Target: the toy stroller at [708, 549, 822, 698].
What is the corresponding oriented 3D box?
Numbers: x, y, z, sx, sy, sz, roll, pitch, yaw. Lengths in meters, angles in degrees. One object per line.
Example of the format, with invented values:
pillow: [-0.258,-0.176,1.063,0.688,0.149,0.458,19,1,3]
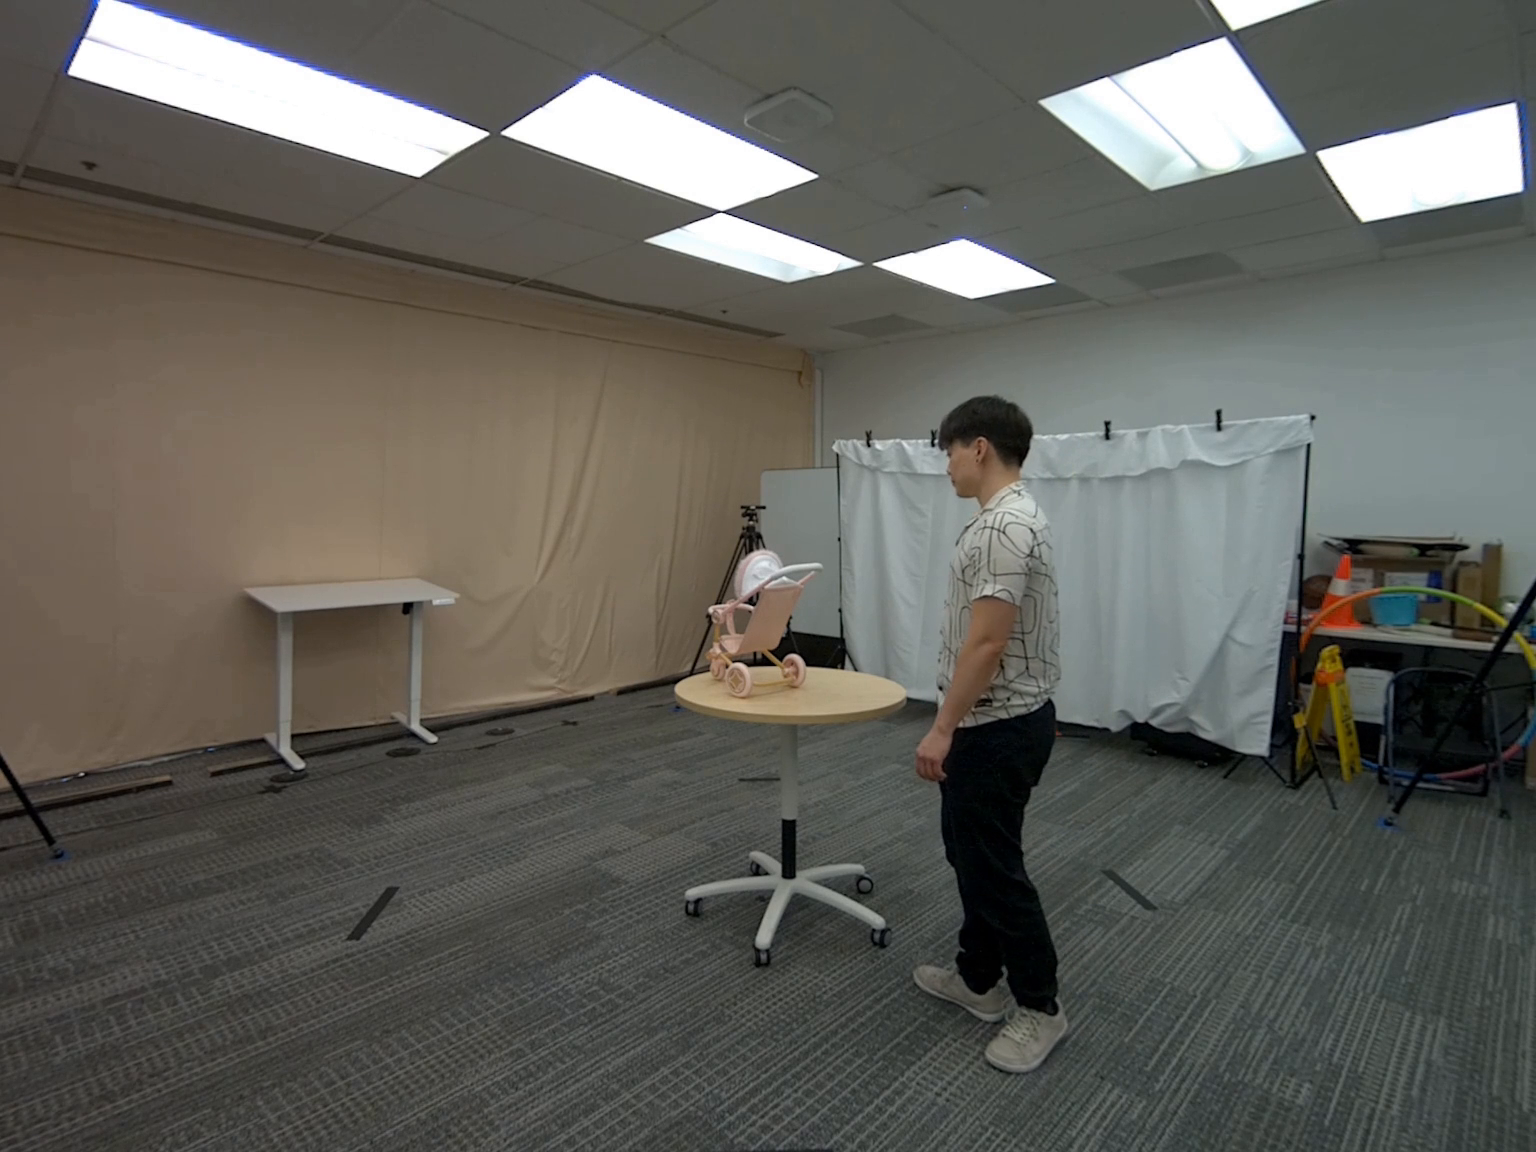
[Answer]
toy stroller: [-0.038,0.154,2.784,0.273,0.531,0.354,-2,21,-40]
